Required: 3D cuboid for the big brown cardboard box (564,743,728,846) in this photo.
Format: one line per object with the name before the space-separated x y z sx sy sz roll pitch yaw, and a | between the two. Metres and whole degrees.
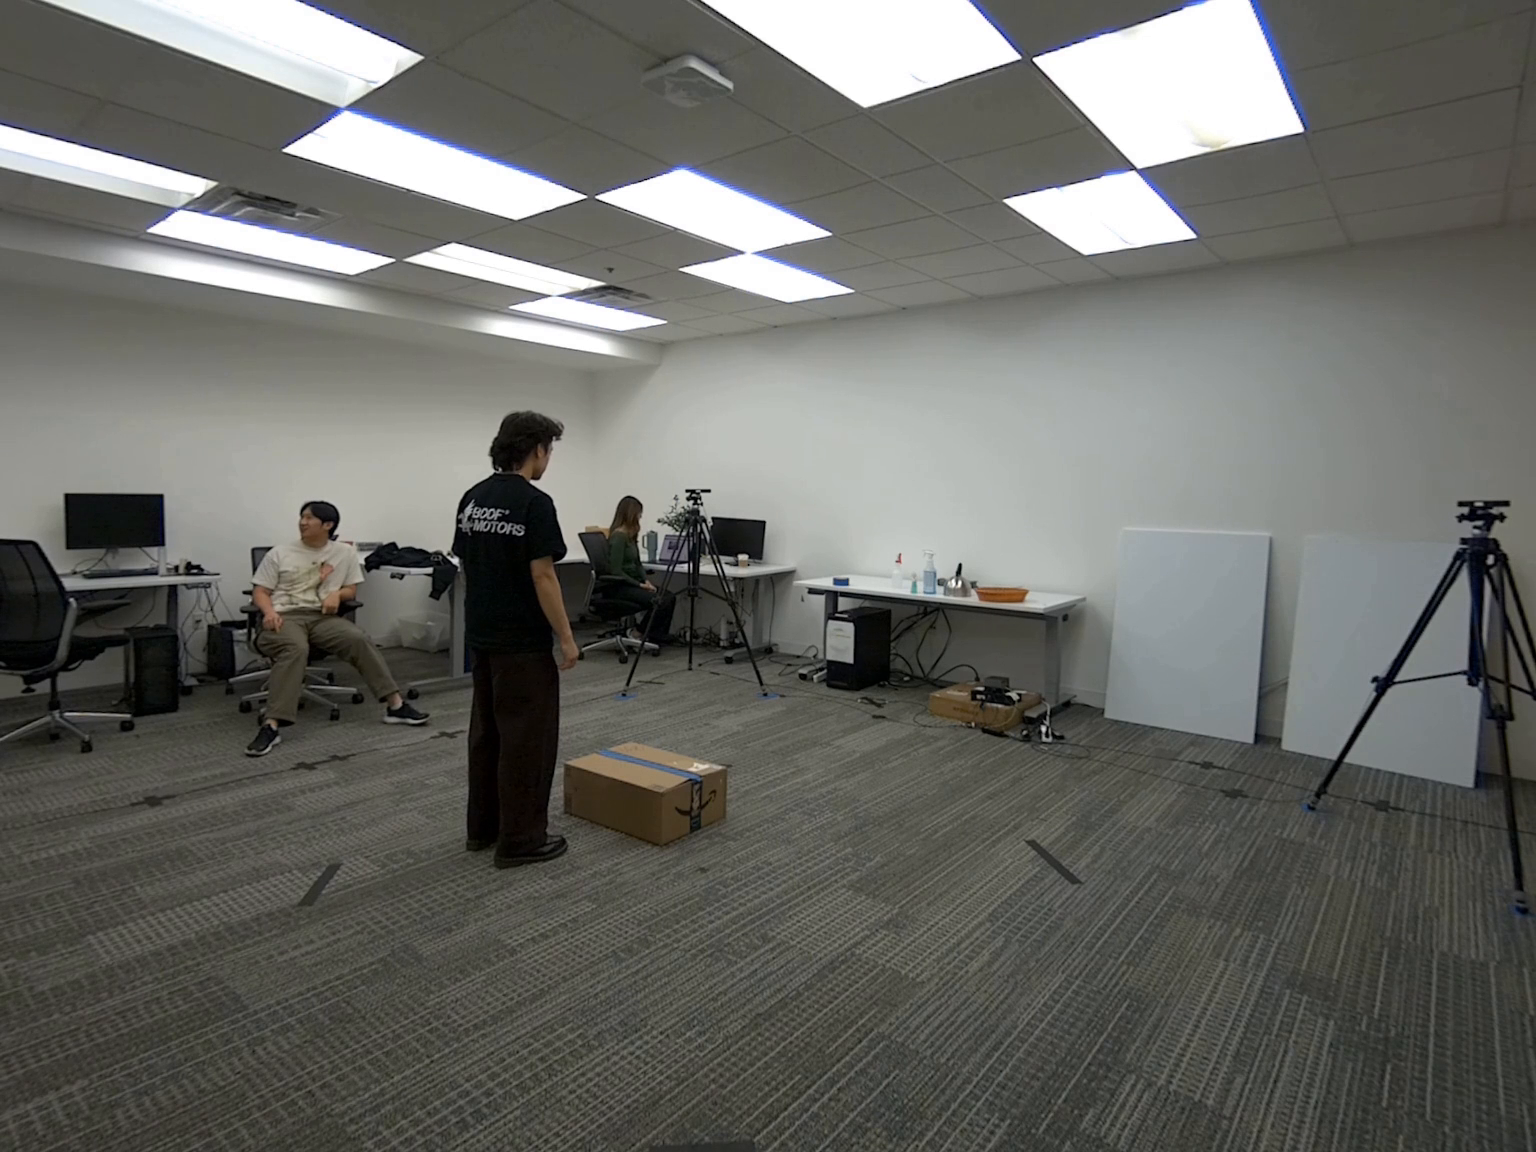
big brown cardboard box | -0.533 0.905 3.622 0.608 0.232 0.406 3 5 36
